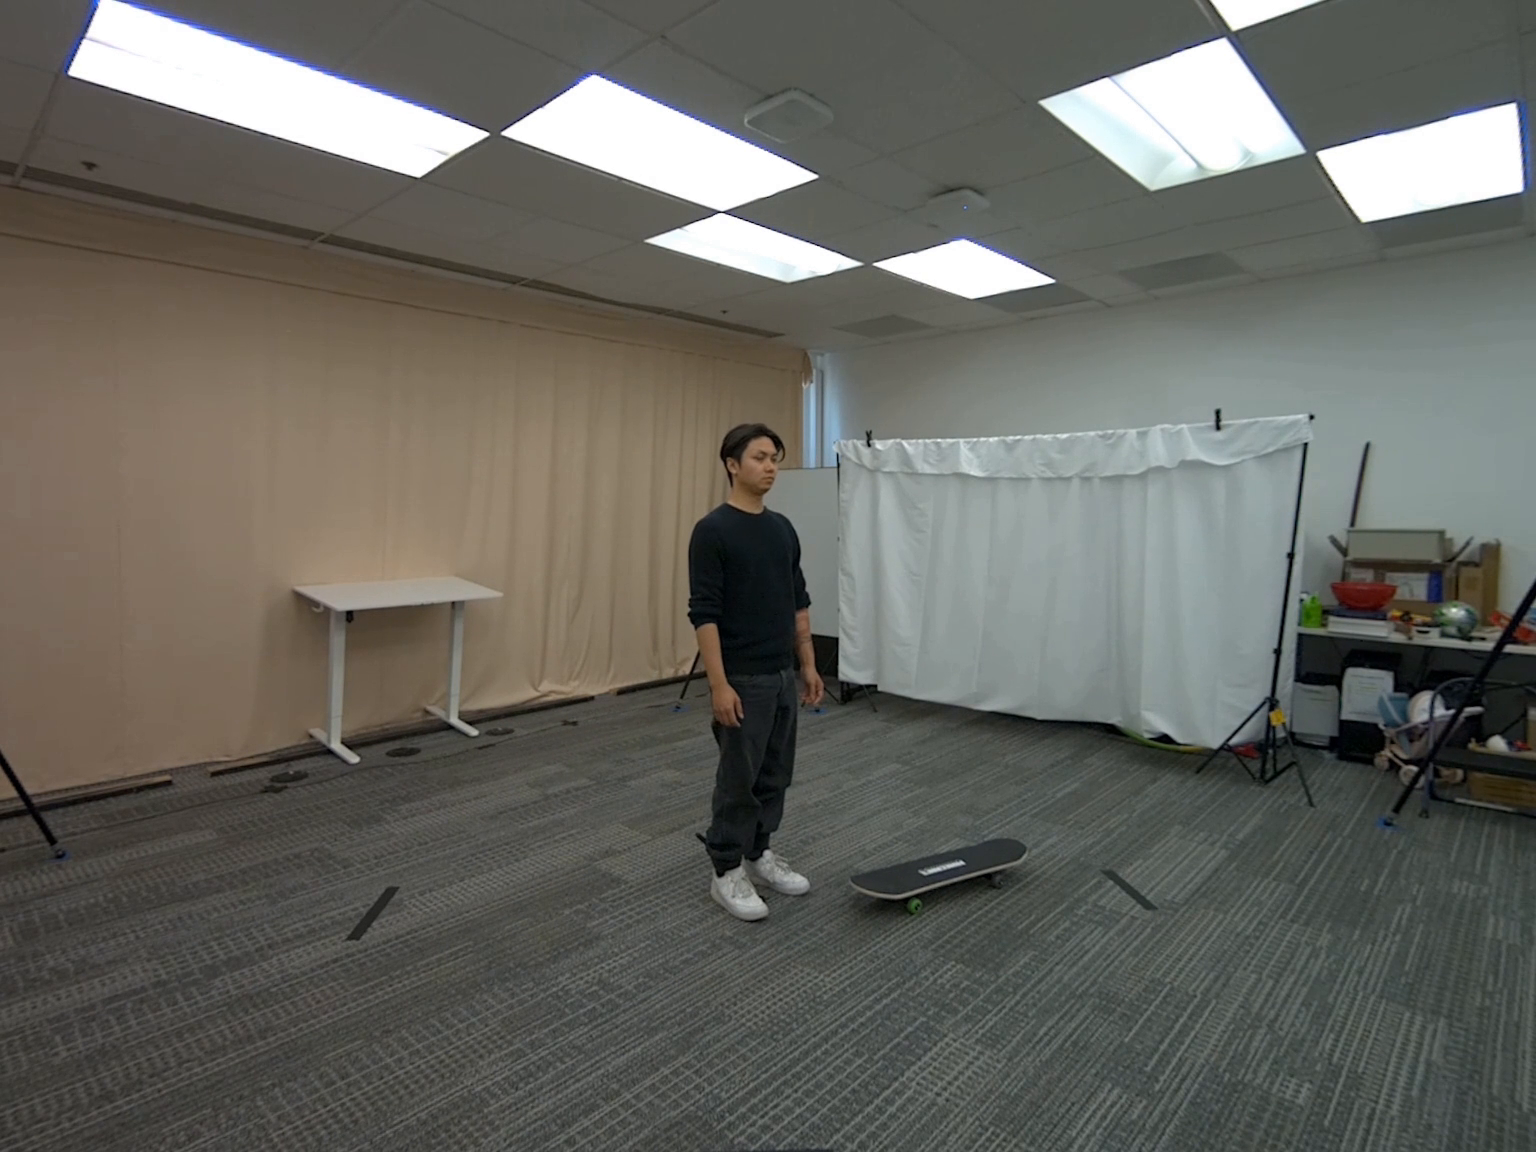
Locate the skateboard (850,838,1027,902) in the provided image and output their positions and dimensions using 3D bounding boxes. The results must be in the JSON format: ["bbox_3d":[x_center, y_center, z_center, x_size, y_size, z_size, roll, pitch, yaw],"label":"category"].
[{"bbox_3d":[0.631,1.085,3.023,0.765,0.110,0.199,-2,5,-29],"label":"skateboard"}]
